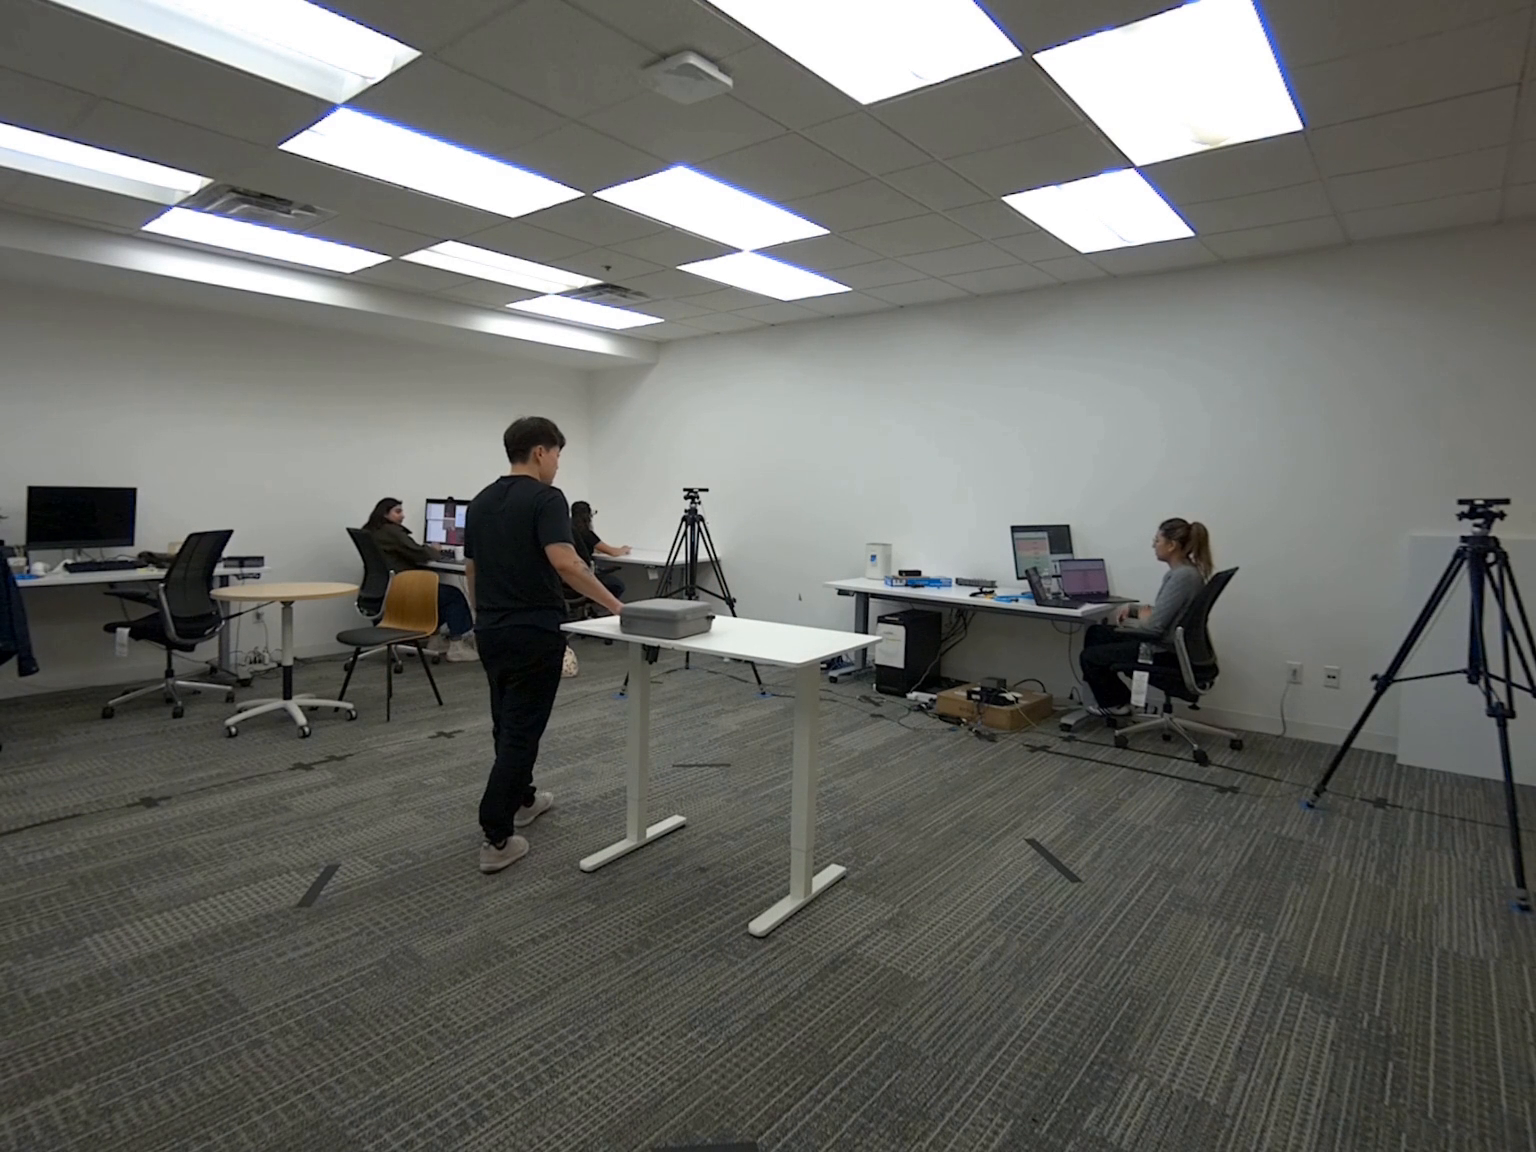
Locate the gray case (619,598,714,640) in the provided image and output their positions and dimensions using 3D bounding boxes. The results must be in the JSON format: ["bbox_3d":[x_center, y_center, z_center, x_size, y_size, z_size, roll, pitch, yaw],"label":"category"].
[{"bbox_3d":[-0.366,0.144,2.990,0.268,0.104,0.251,3,7,29],"label":"gray case"}]
